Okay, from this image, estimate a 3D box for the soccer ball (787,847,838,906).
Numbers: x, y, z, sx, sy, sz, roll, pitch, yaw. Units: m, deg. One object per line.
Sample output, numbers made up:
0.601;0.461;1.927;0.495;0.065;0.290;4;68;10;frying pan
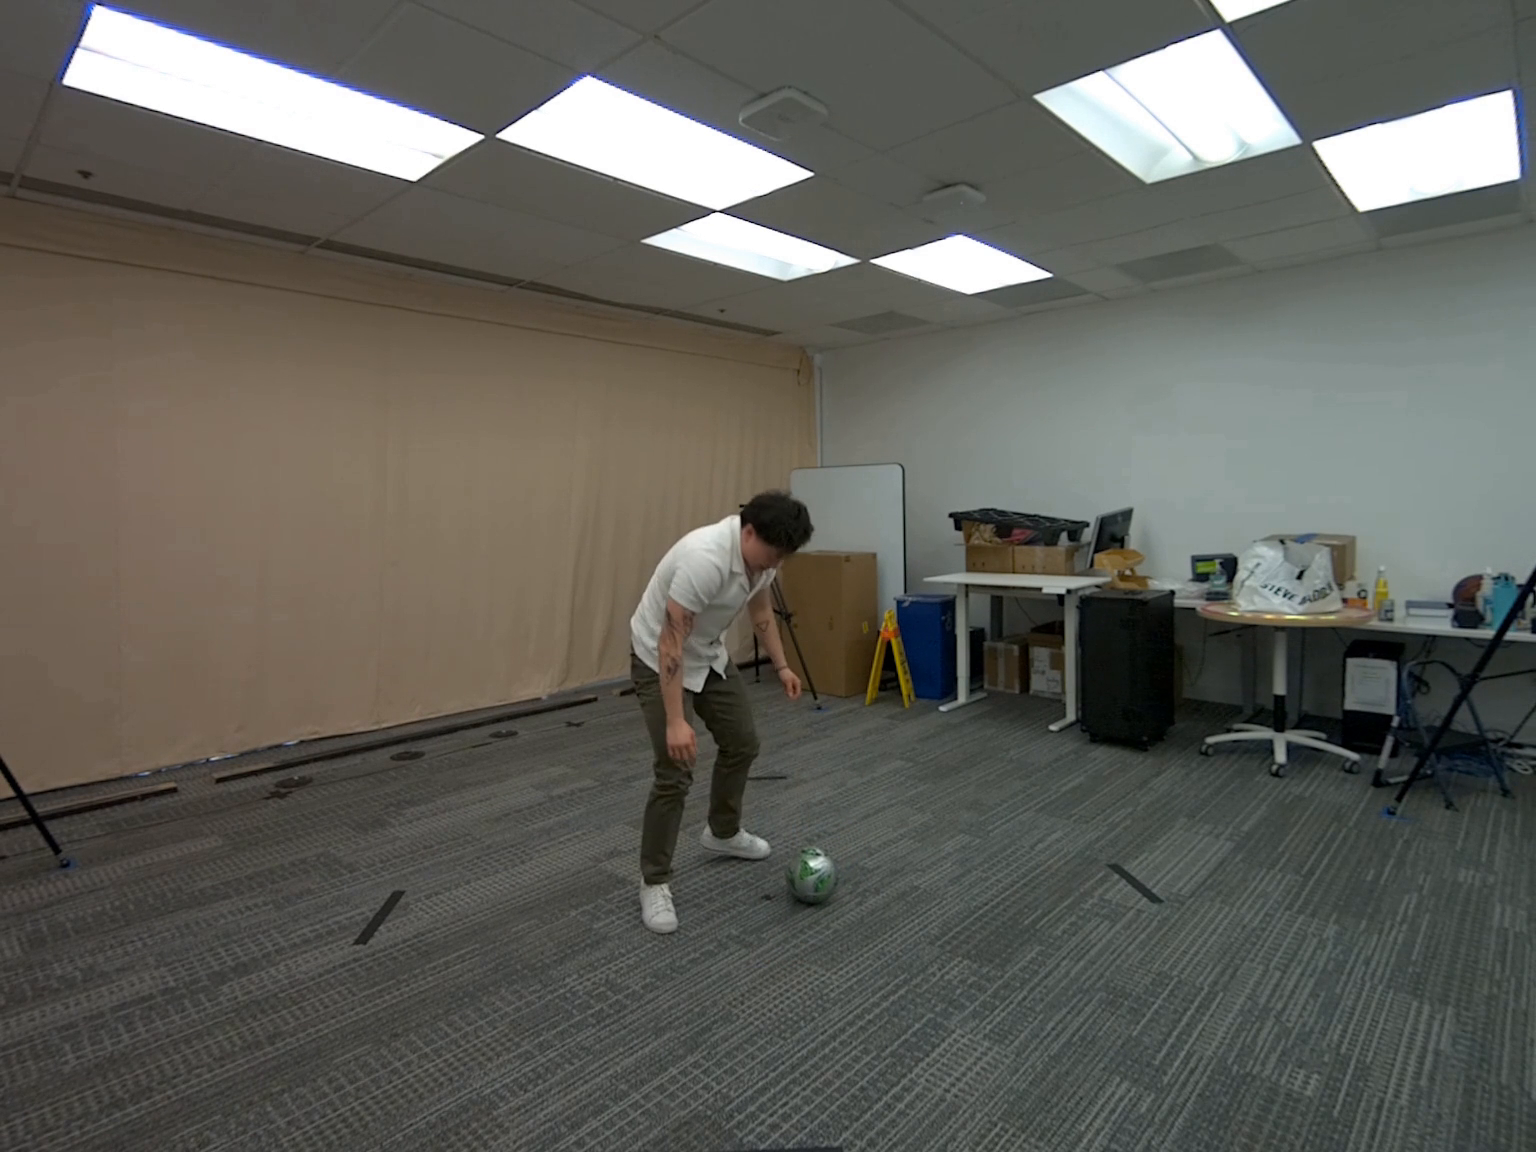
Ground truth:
0.157;1.052;2.948;0.187;0.187;0.188;-1;4;-2;soccer ball
